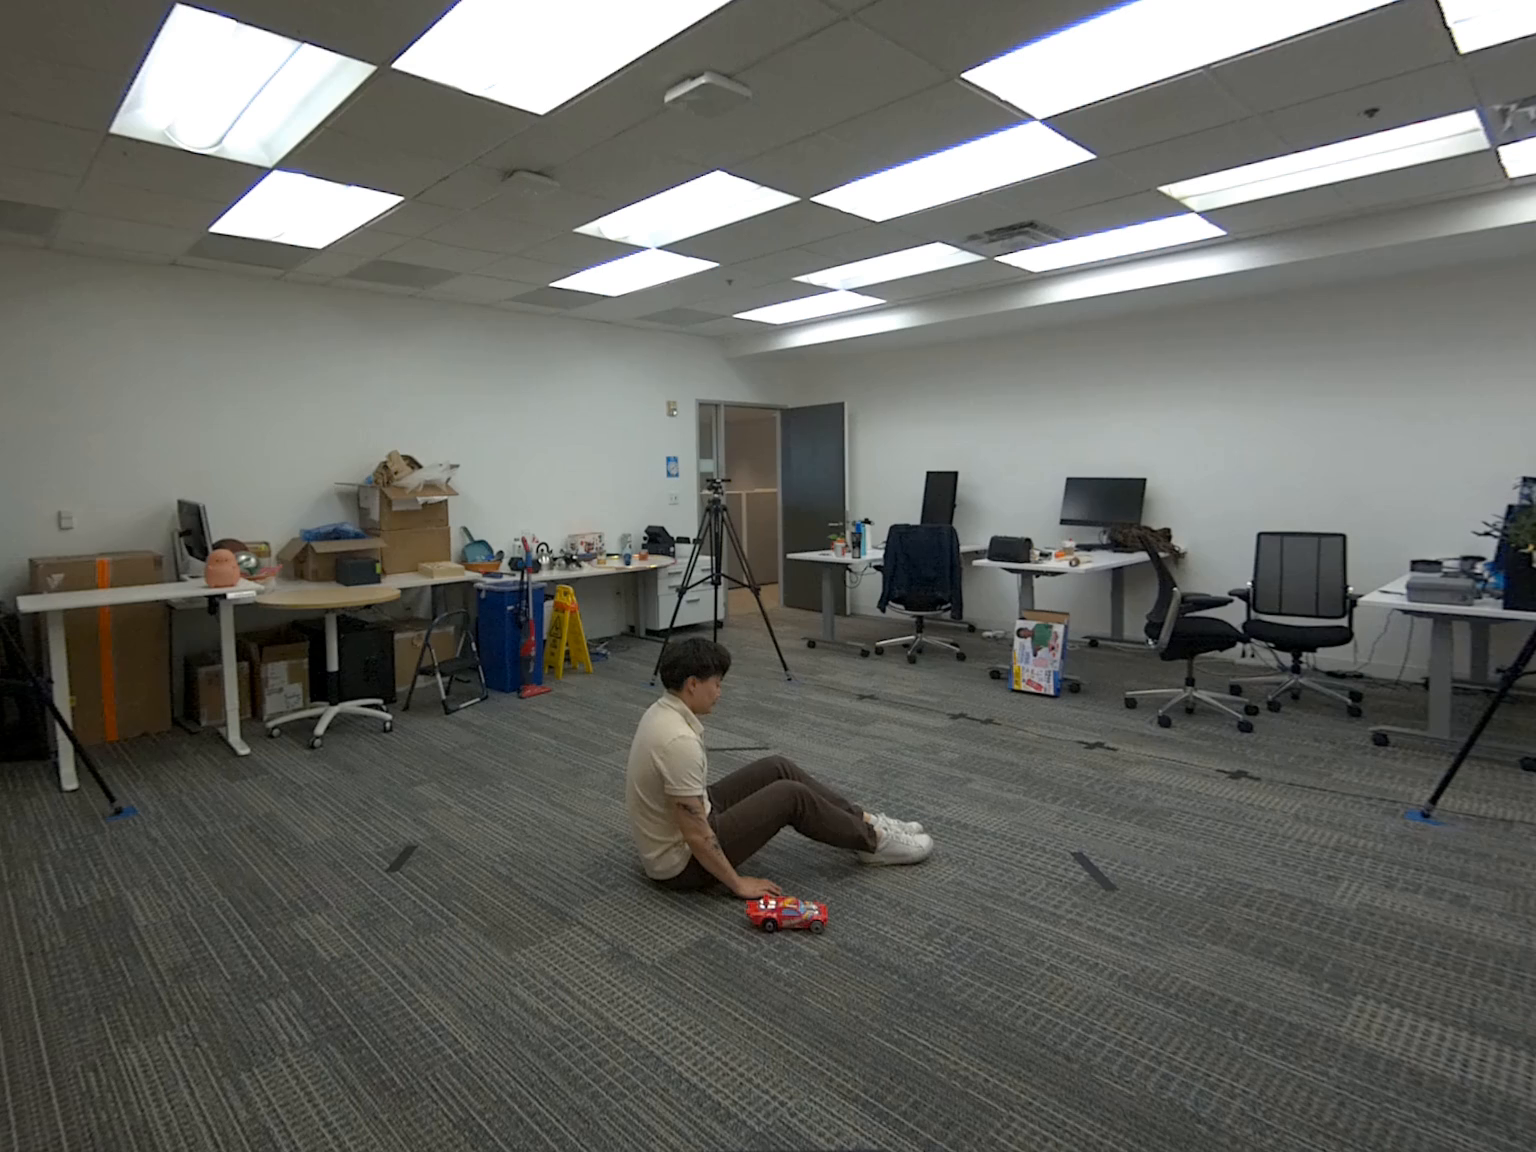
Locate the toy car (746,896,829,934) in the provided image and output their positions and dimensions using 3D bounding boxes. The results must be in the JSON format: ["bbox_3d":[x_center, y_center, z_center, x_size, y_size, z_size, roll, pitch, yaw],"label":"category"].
[{"bbox_3d":[0.056,1.067,2.674,0.254,0.083,0.131,9,6,-1],"label":"toy car"}]
